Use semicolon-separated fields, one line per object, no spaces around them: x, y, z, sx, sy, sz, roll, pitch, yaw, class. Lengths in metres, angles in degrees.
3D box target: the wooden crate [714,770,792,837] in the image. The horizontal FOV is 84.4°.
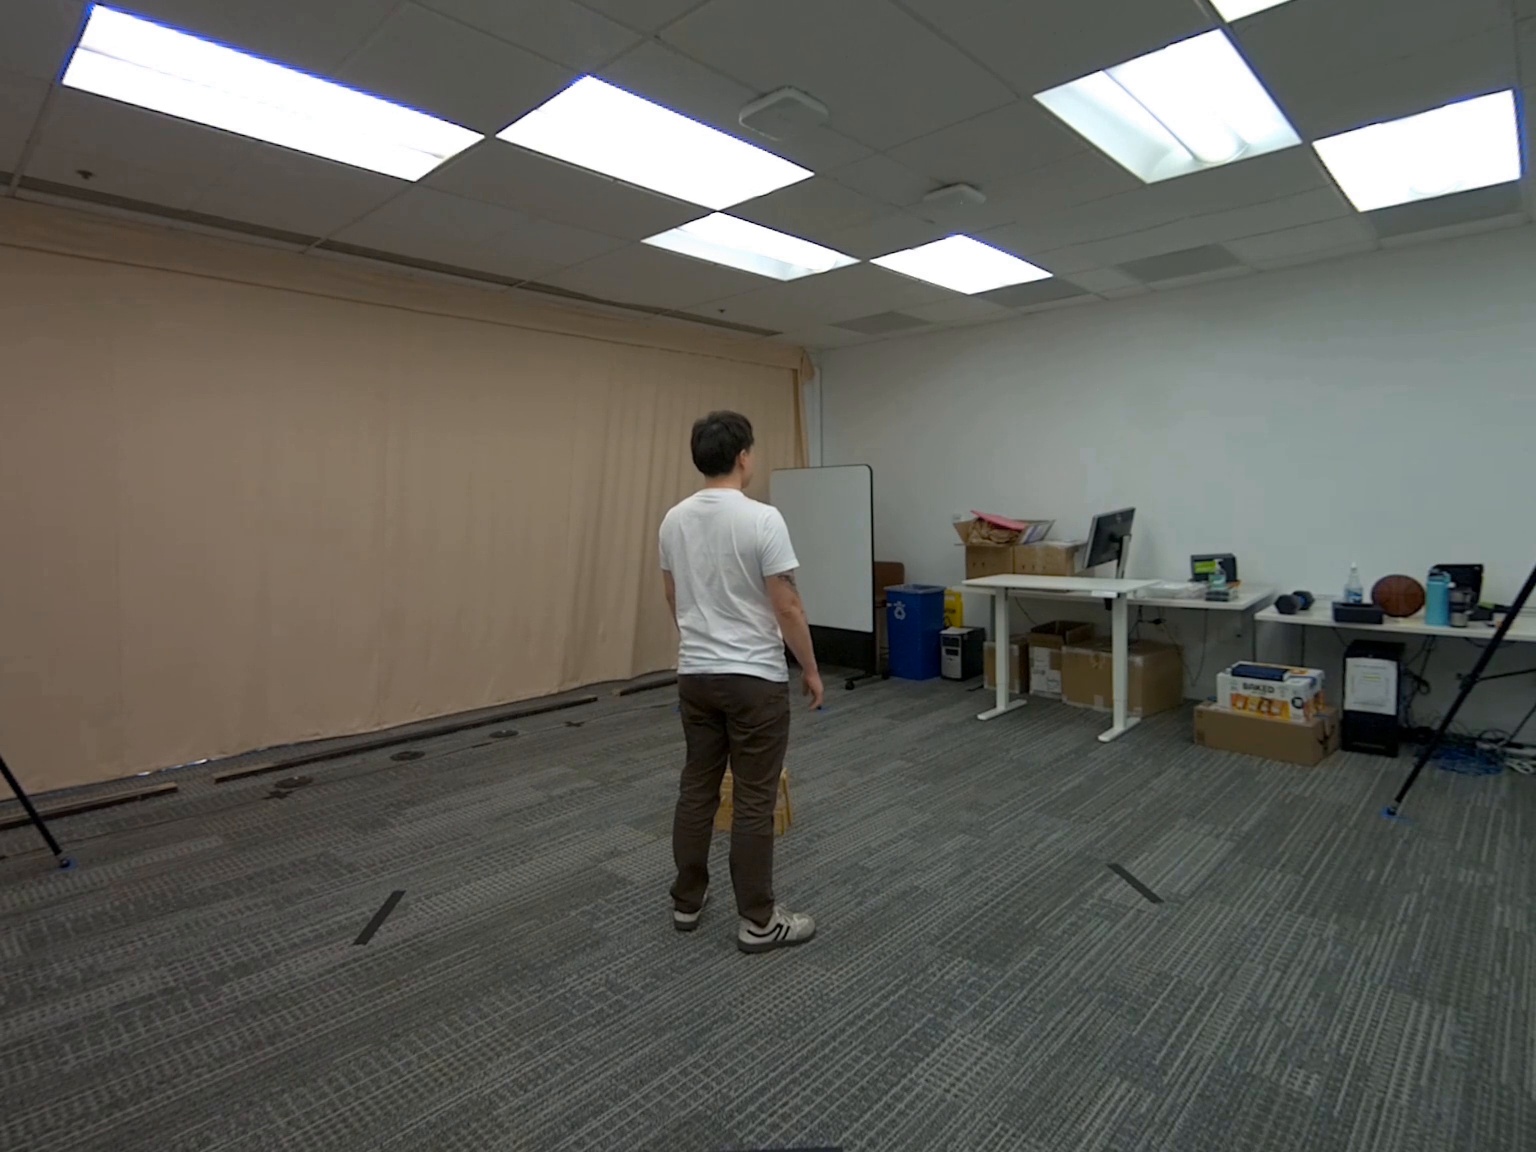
-0.060;0.951;3.671;0.329;0.273;0.298;0;4;13;wooden crate
